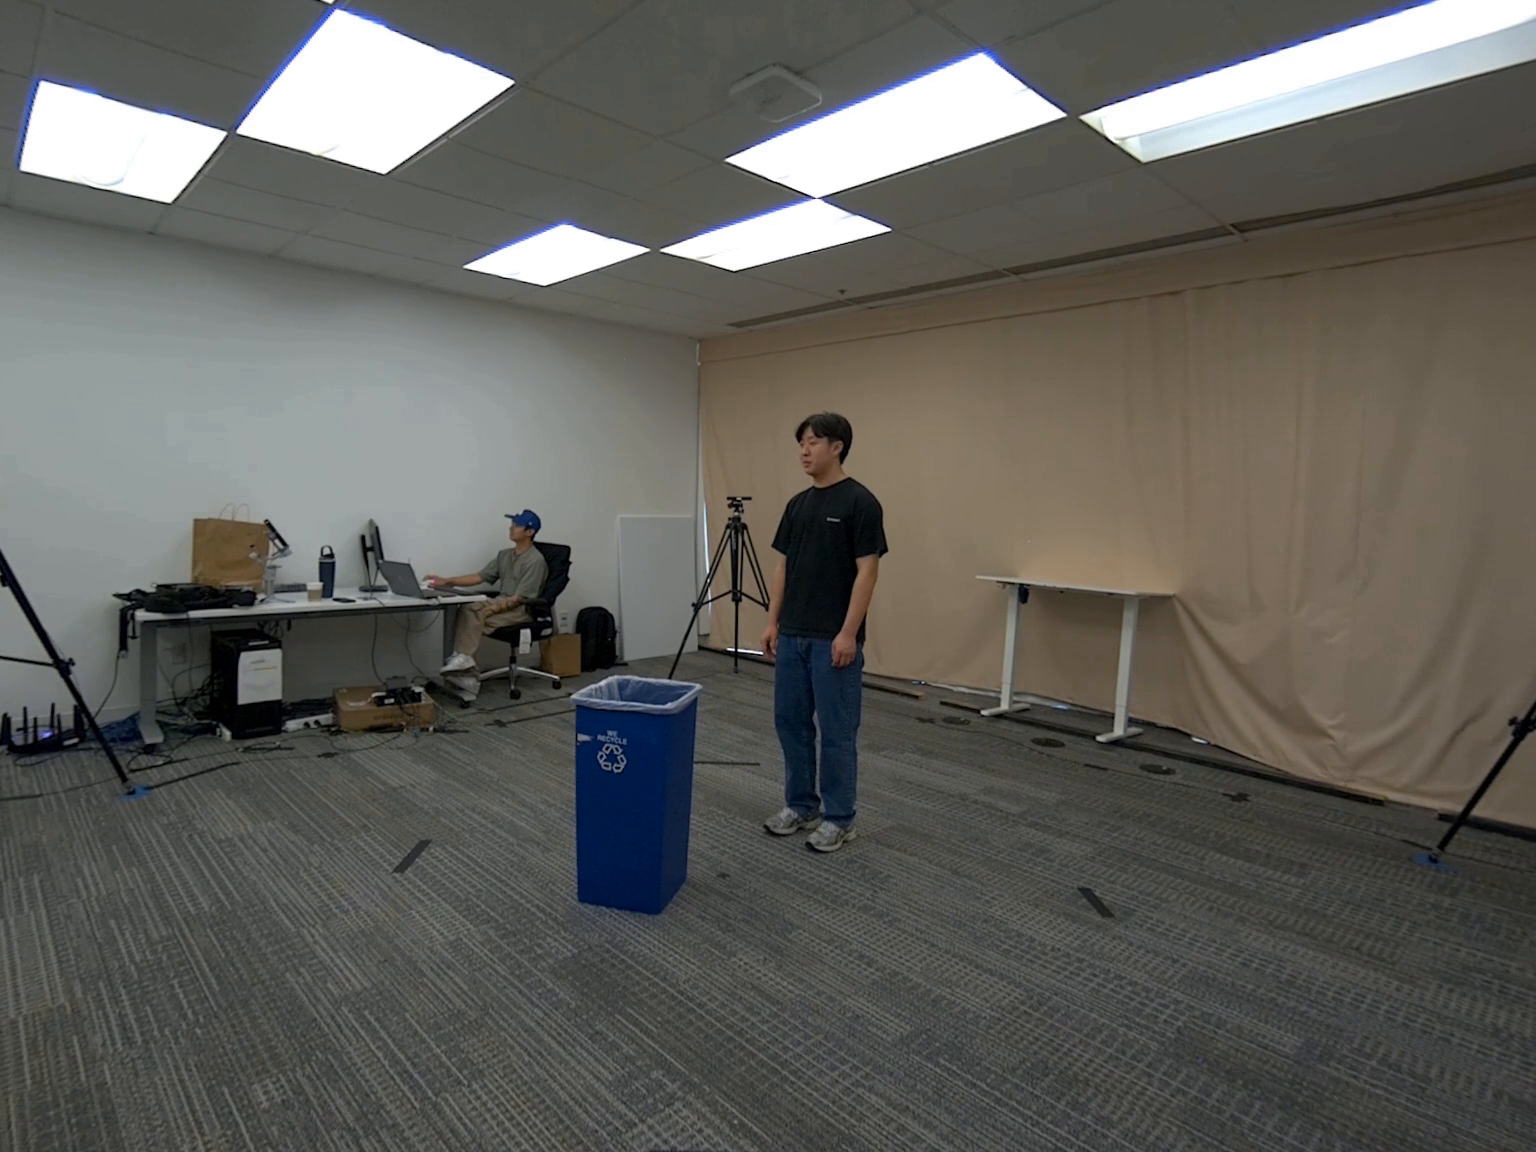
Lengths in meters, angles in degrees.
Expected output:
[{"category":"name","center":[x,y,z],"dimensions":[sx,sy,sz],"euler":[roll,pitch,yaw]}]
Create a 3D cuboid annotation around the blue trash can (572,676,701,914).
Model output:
[{"category":"blue trash can","center":[-0.473,0.754,2.956],"dimensions":[0.379,0.712,0.374],"euler":[4,4,14]}]
